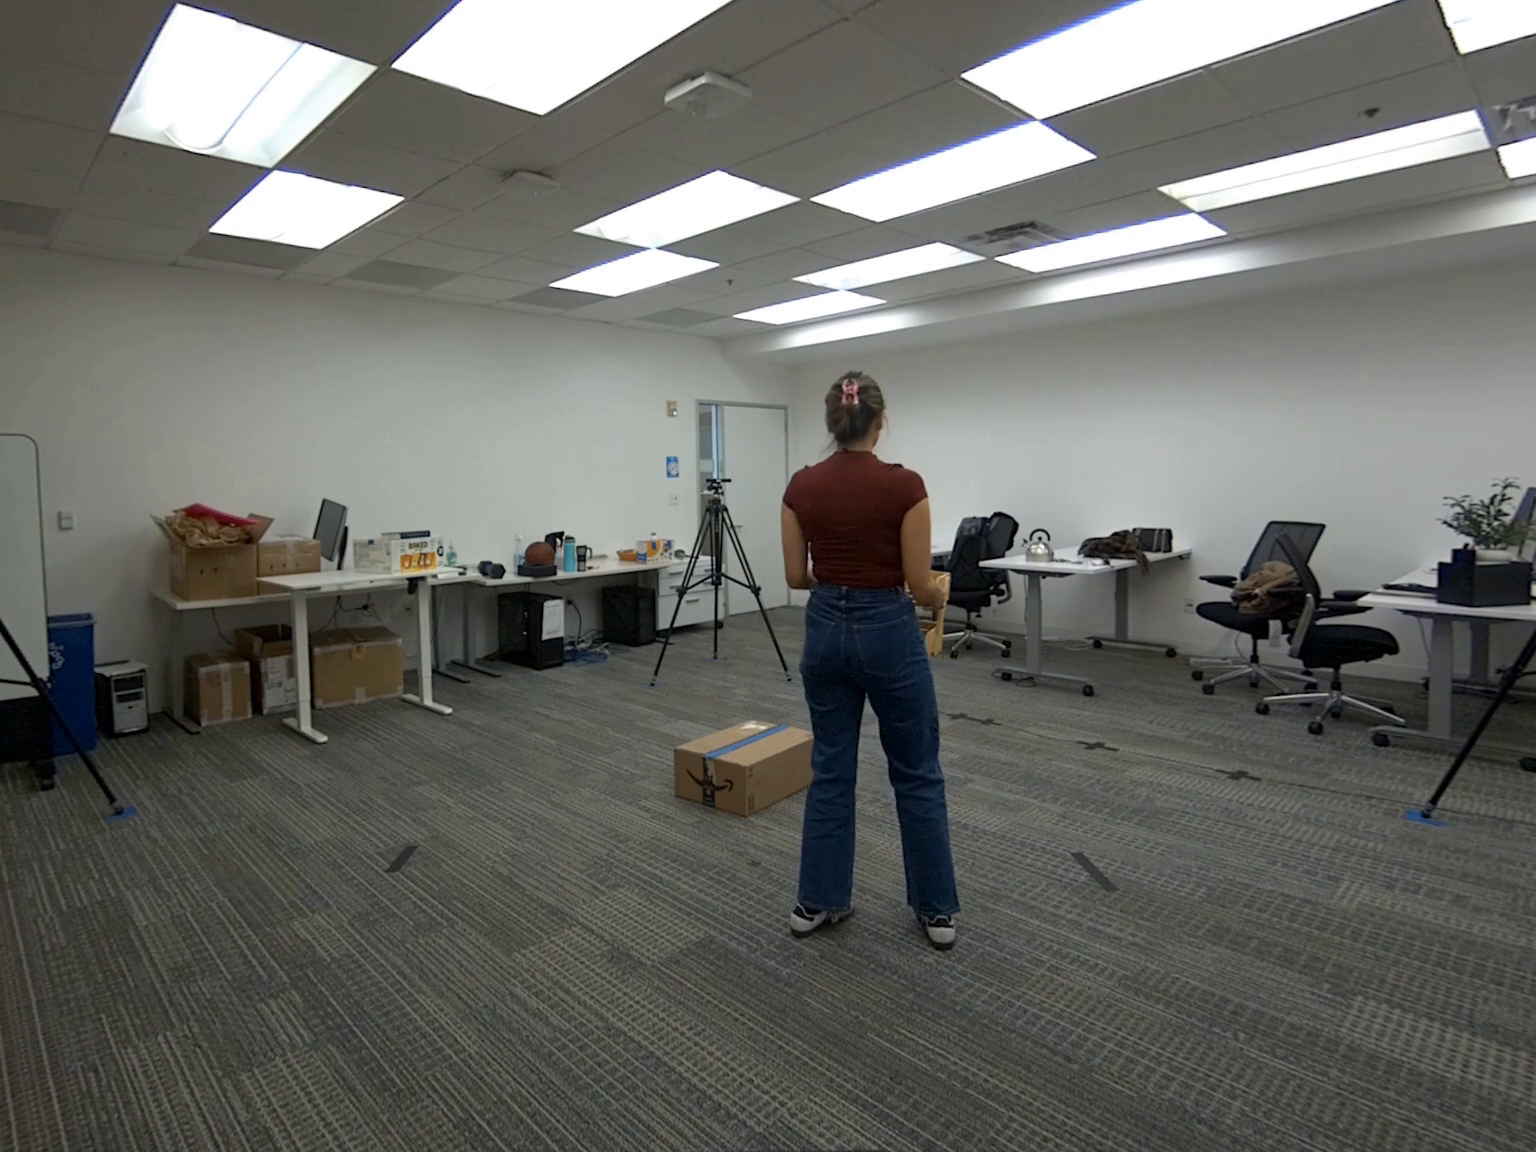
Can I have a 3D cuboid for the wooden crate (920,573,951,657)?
[{"bbox_3d":[0.420,0.117,2.883,0.333,0.271,0.296,6,9,26],"label":"wooden crate"}]
